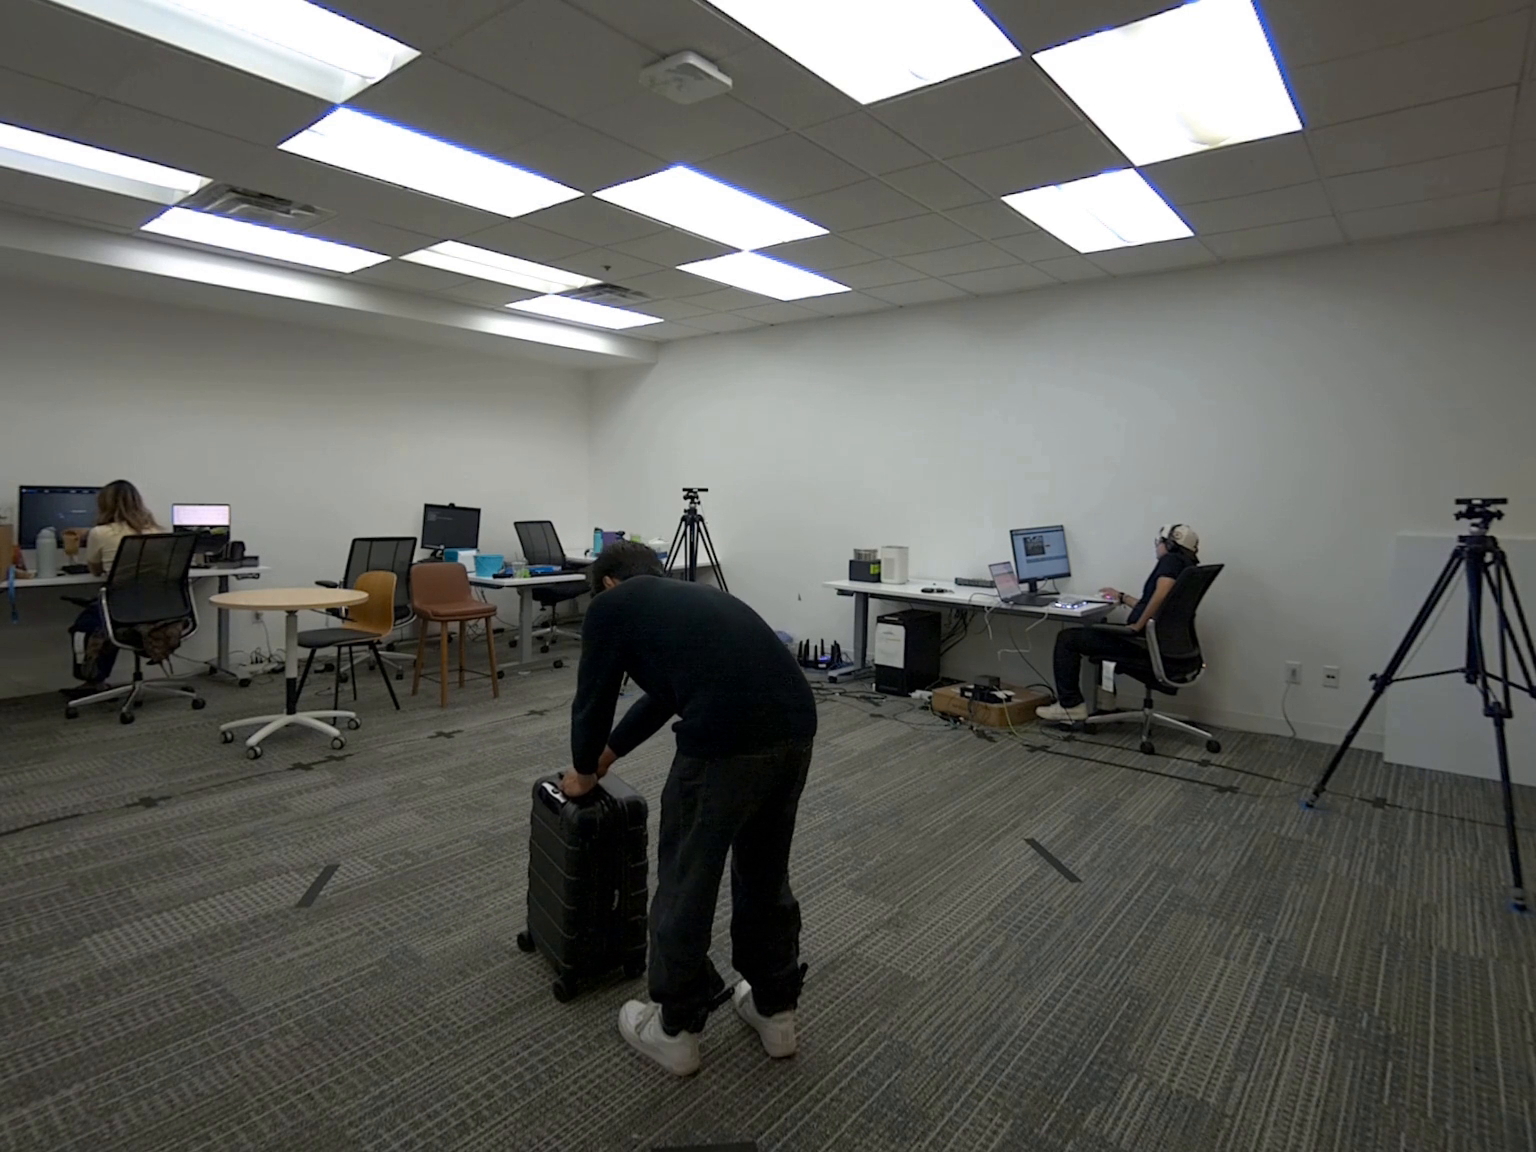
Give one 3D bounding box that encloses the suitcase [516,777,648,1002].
[{"bbox_3d":[-0.537,0.852,2.463,0.241,0.547,0.388,0,5,-33],"label":"suitcase"}]
